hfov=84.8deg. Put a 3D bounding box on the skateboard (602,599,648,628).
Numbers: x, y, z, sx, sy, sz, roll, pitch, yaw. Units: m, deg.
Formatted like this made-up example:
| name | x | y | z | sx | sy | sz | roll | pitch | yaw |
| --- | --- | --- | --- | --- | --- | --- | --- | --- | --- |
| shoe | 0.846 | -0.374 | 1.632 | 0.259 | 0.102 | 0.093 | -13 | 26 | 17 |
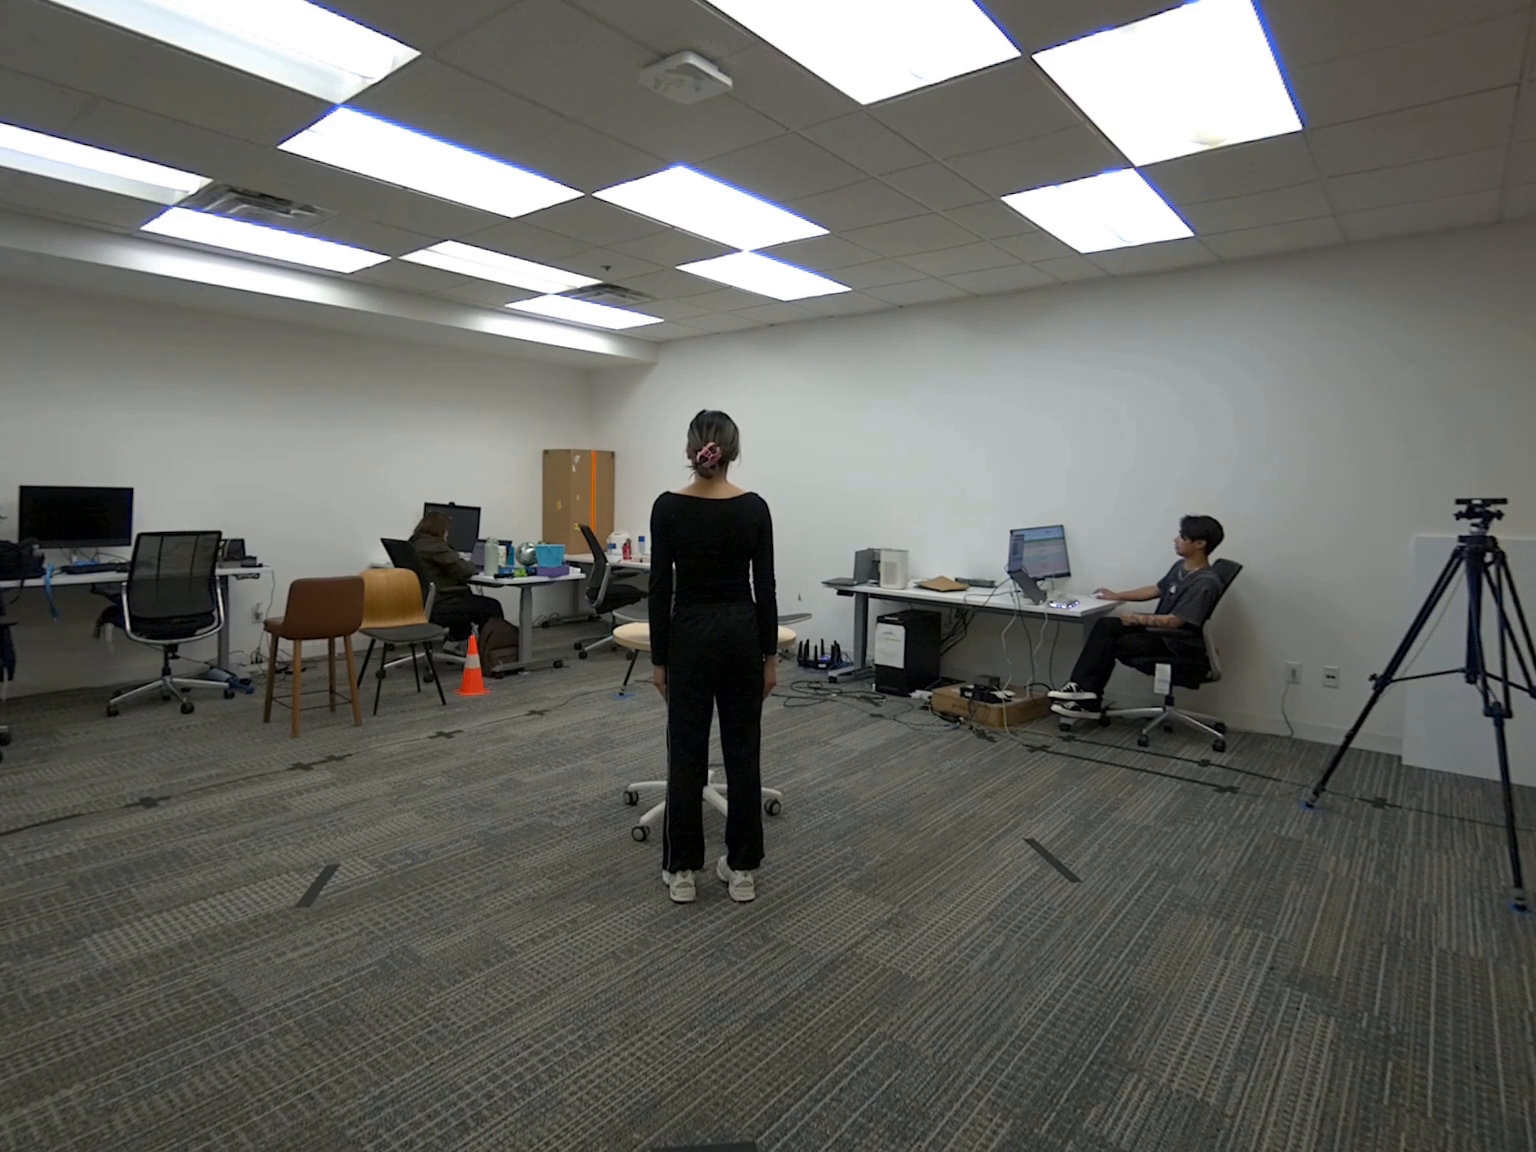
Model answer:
| name | x | y | z | sx | sy | sz | roll | pitch | yaw |
| --- | --- | --- | --- | --- | --- | --- | --- | --- | --- |
| skateboard | -0.222 | 0.199 | 3.362 | 0.787 | 0.110 | 0.193 | 2 | 4 | 2 |
